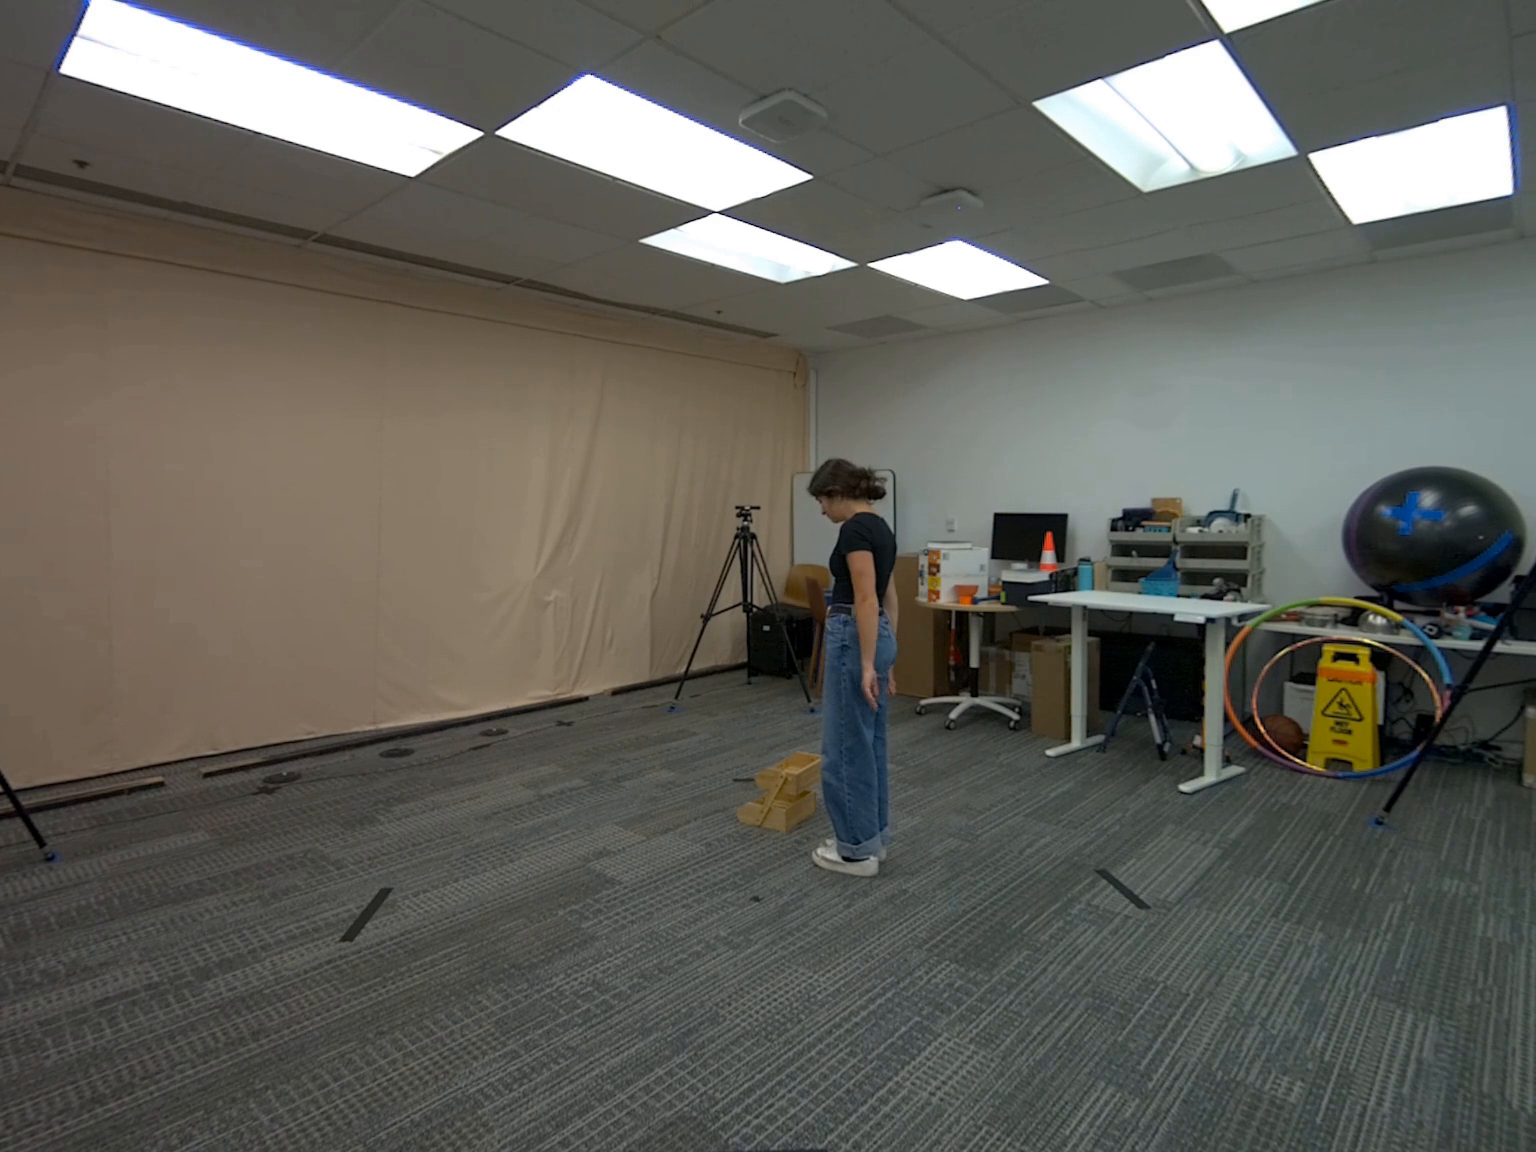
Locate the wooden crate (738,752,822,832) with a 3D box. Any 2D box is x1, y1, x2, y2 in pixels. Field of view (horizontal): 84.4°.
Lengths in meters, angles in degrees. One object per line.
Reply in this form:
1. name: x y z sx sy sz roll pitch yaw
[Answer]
1. wooden crate: 0.061 0.946 3.767 0.311 0.273 0.316 2 4 30
